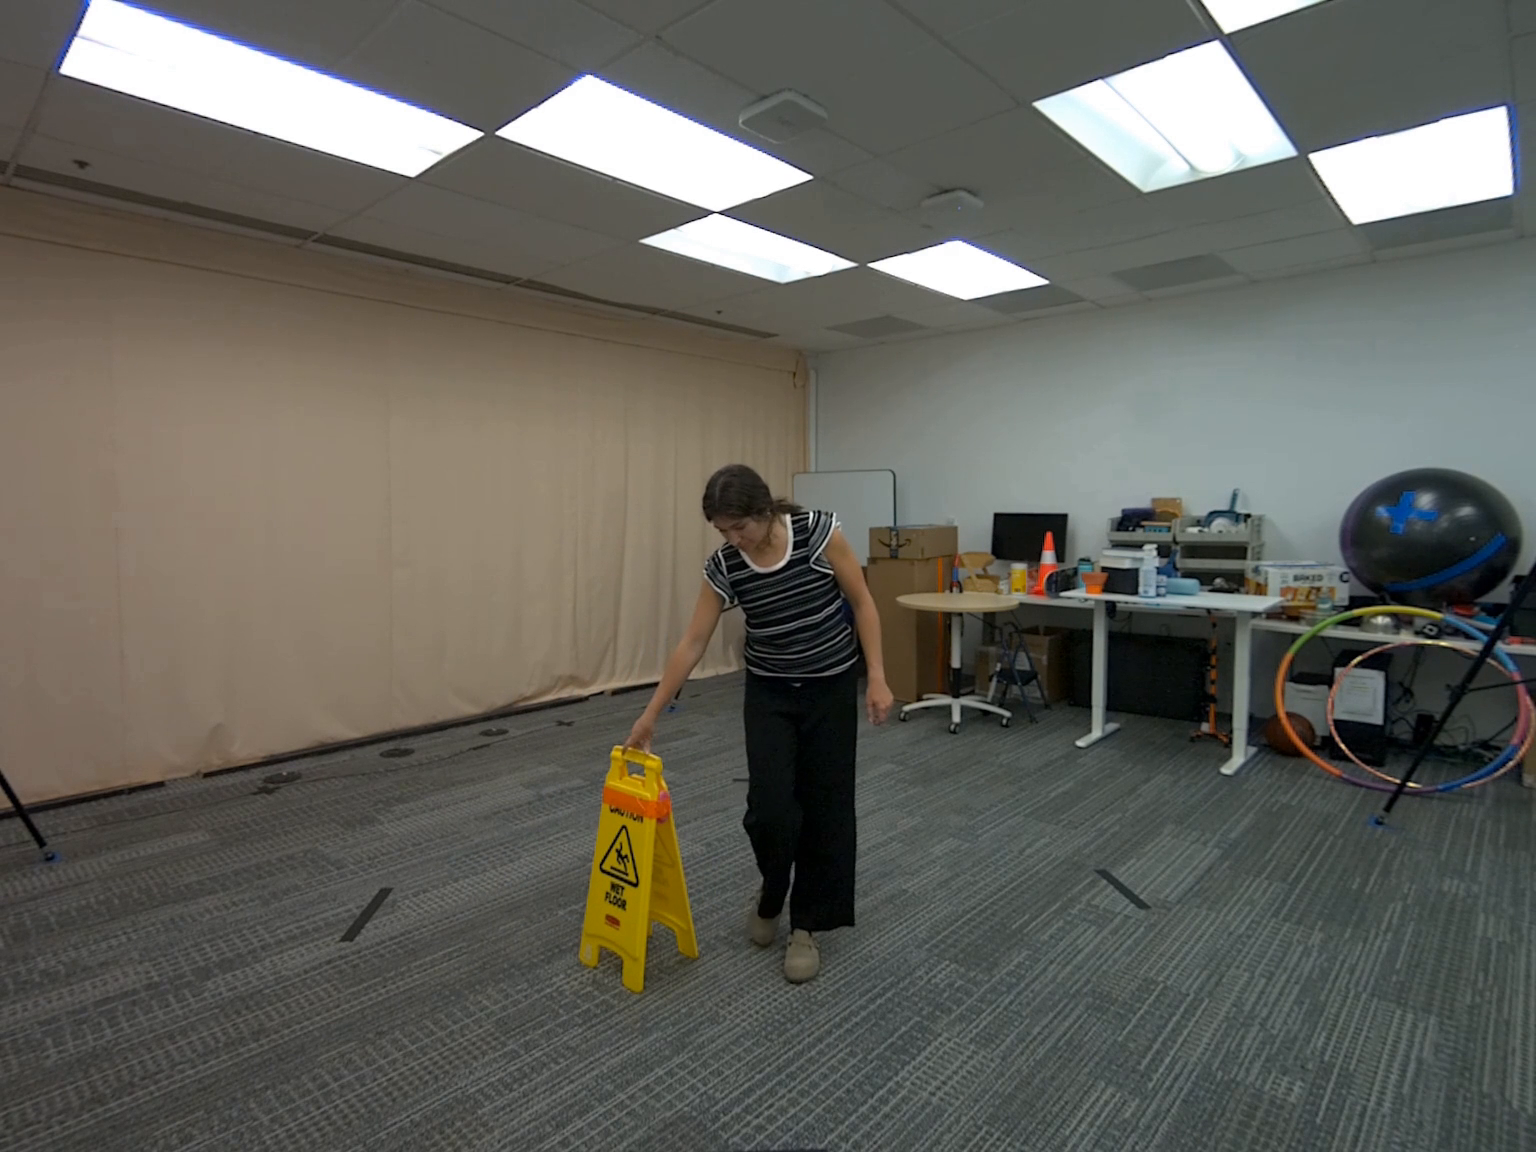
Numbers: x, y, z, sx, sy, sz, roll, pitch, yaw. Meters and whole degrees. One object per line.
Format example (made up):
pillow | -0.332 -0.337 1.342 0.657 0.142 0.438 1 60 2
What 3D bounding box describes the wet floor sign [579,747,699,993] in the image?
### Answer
wet floor sign | -0.400 0.860 2.571 0.291 0.644 0.281 2 5 39
